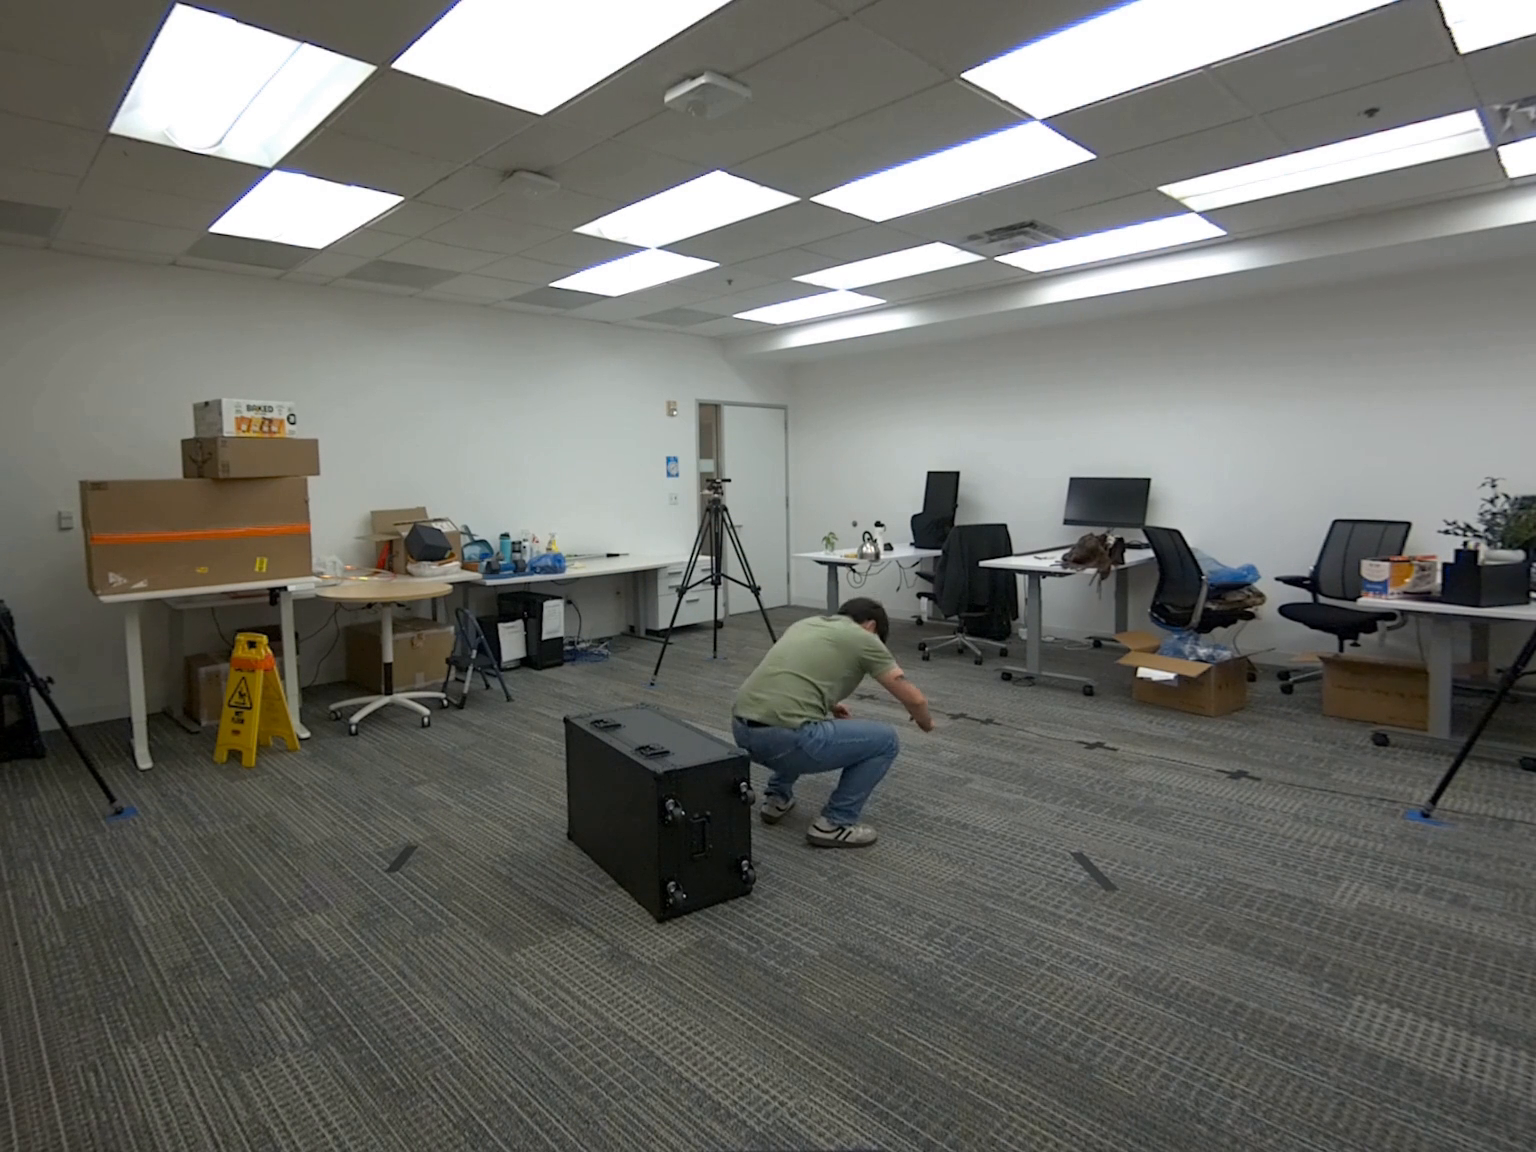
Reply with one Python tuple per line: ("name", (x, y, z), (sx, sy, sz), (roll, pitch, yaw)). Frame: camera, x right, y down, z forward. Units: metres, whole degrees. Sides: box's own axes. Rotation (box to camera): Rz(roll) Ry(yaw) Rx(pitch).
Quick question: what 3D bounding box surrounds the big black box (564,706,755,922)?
("big black box", (-0.392, 0.812, 3.075), (0.386, 0.519, 0.886), (-3, 6, -33))
